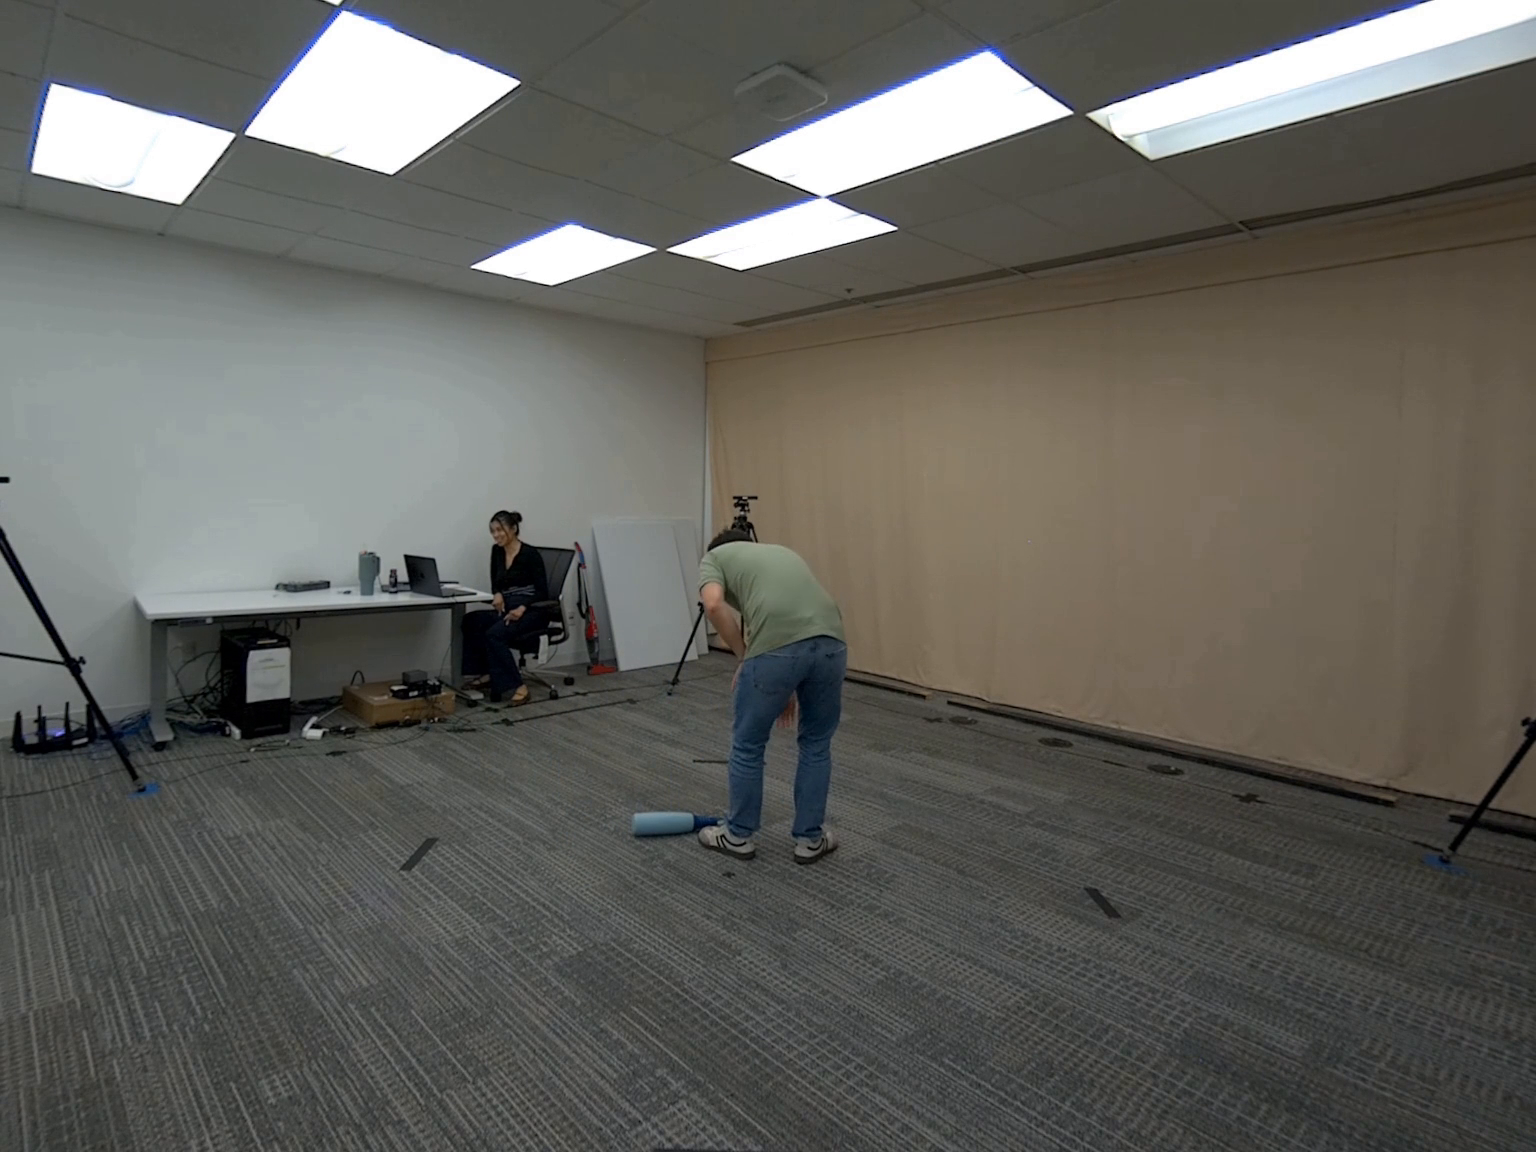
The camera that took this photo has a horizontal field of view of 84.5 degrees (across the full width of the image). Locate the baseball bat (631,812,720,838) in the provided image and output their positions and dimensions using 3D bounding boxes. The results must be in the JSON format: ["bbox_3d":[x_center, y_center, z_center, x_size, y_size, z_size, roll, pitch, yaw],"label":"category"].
[{"bbox_3d":[-0.307,1.029,3.505,0.536,0.089,0.090,3,4,-15],"label":"baseball bat"}]
